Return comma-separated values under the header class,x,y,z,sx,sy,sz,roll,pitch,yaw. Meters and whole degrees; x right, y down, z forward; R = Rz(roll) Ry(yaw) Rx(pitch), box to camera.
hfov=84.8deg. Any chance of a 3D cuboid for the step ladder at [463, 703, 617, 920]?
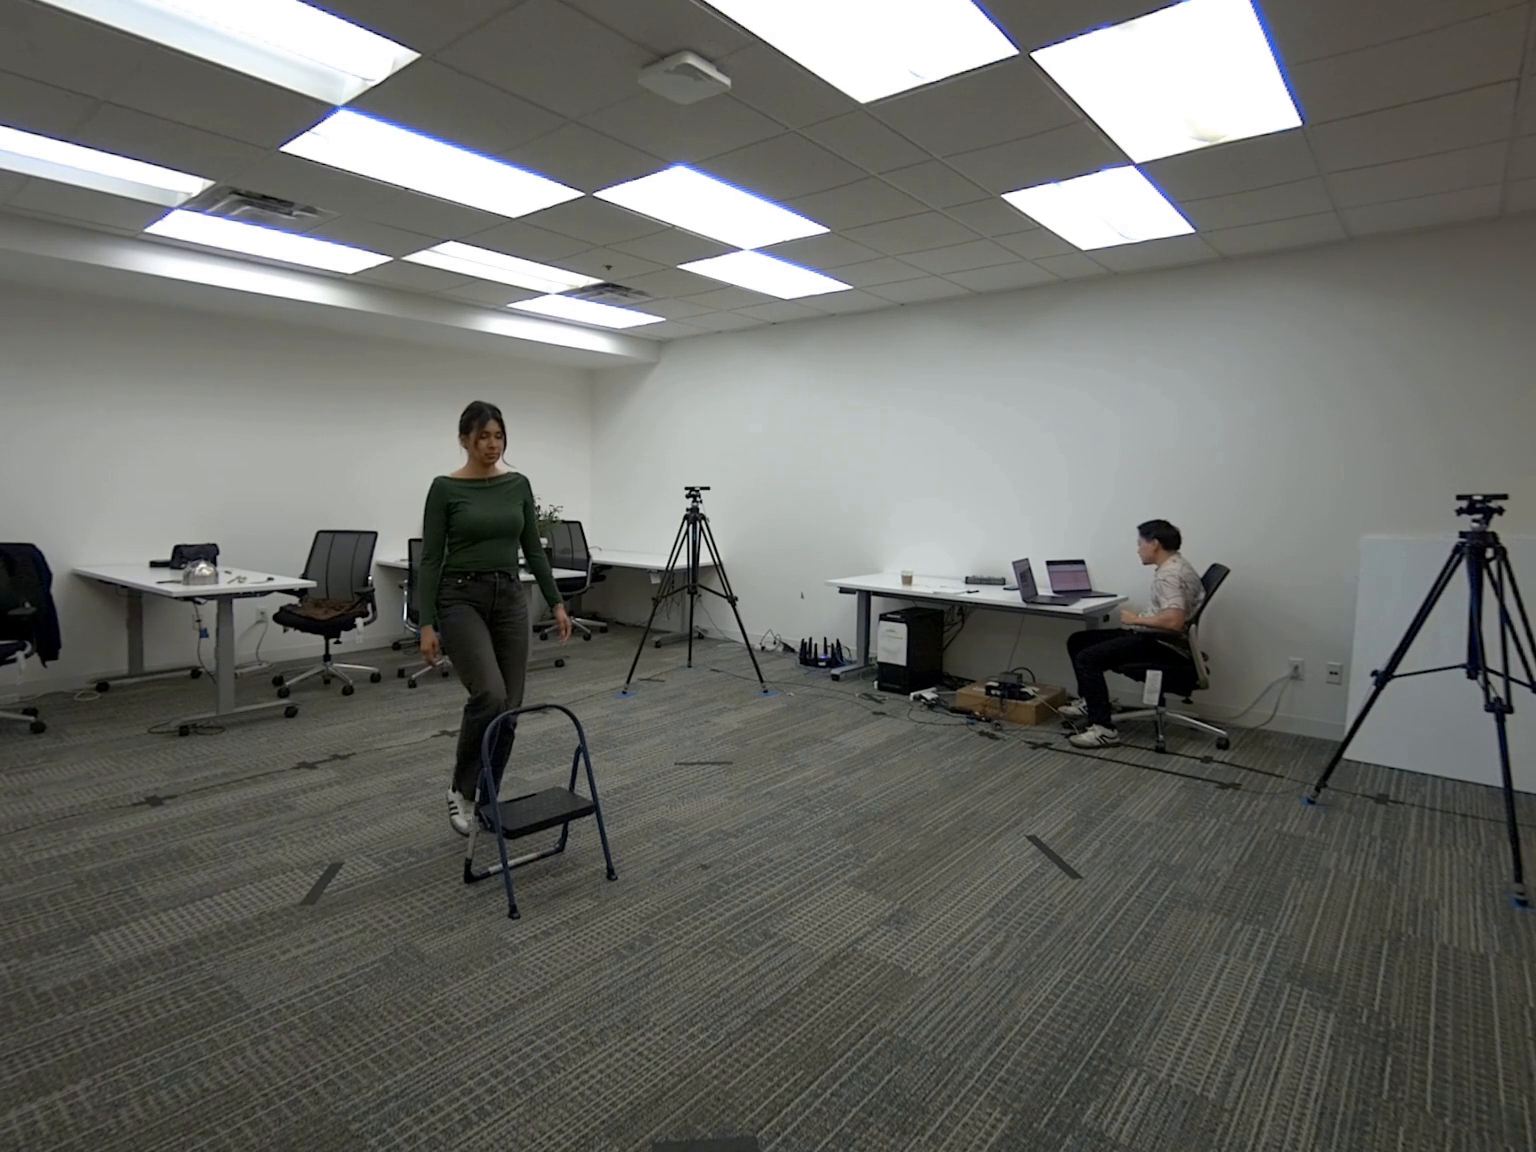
class,x,y,z,sx,sy,sz,roll,pitch,yaw
step ladder,-0.808,0.767,2.974,0.361,0.604,0.417,3,4,43
